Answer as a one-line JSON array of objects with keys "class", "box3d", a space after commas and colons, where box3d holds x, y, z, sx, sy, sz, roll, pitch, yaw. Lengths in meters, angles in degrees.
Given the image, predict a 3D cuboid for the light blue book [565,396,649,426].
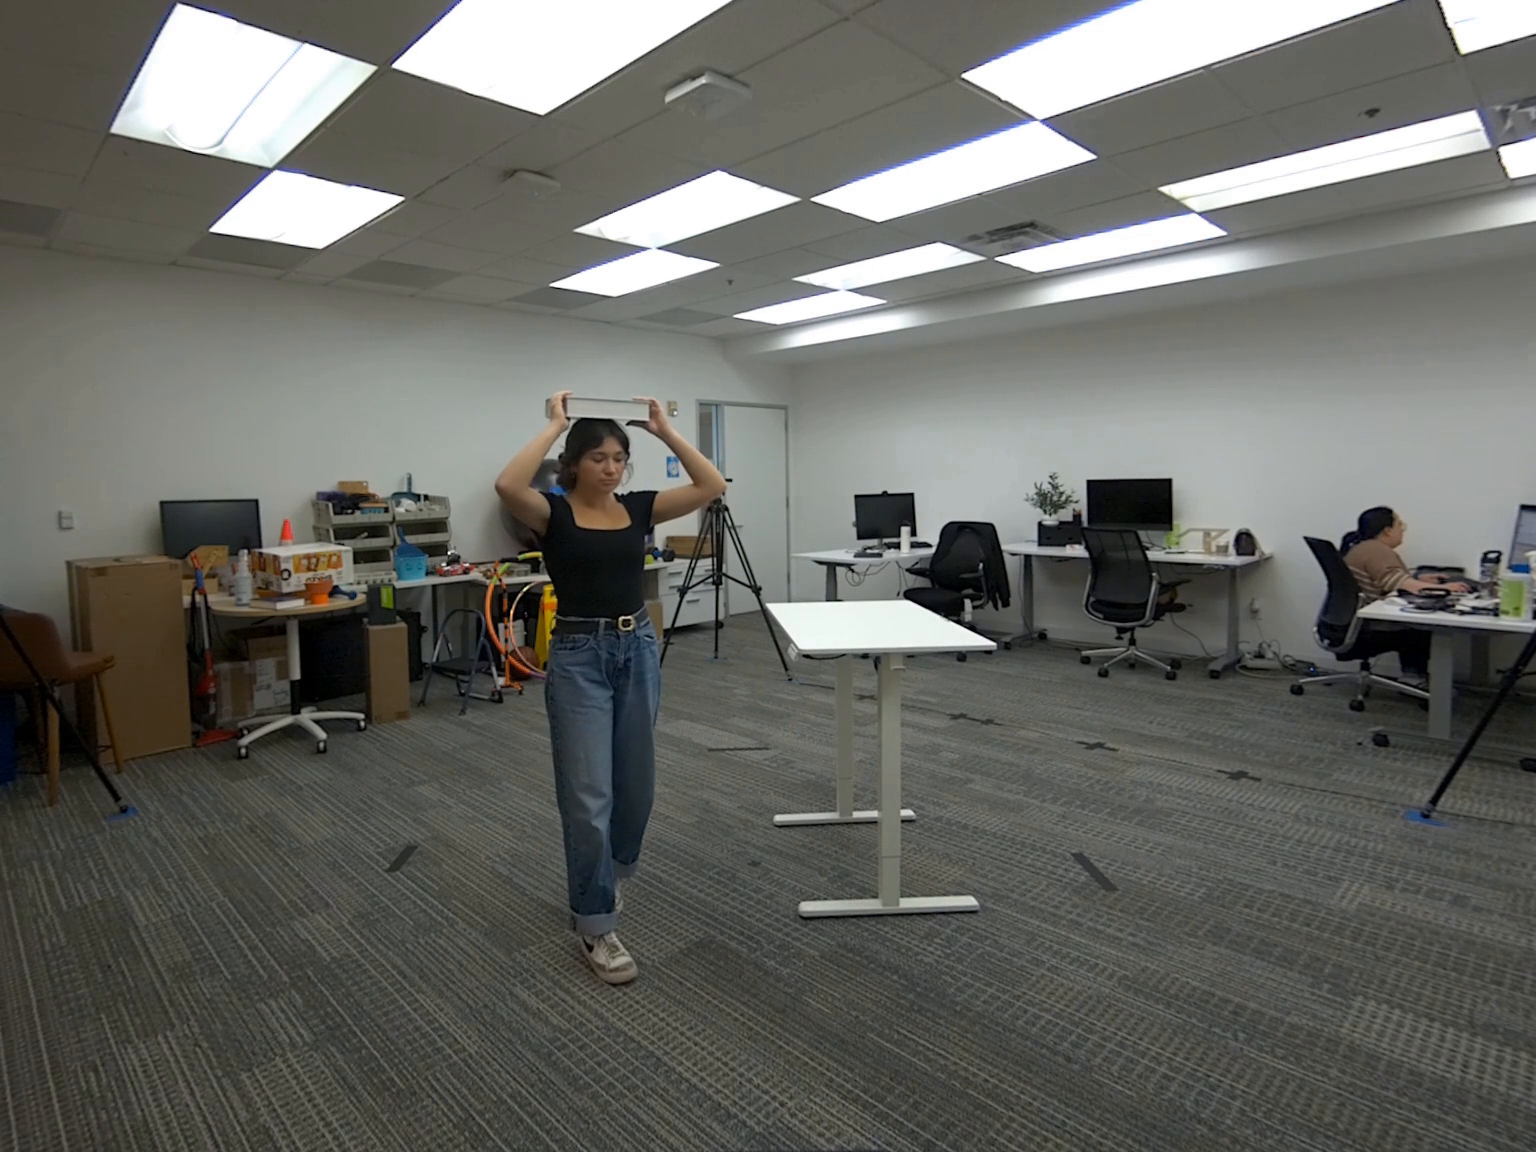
[{"class": "light blue book", "box3d": [-0.507, -0.498, 2.542, 0.255, 0.059, 0.197, -3, 8, -28]}]
